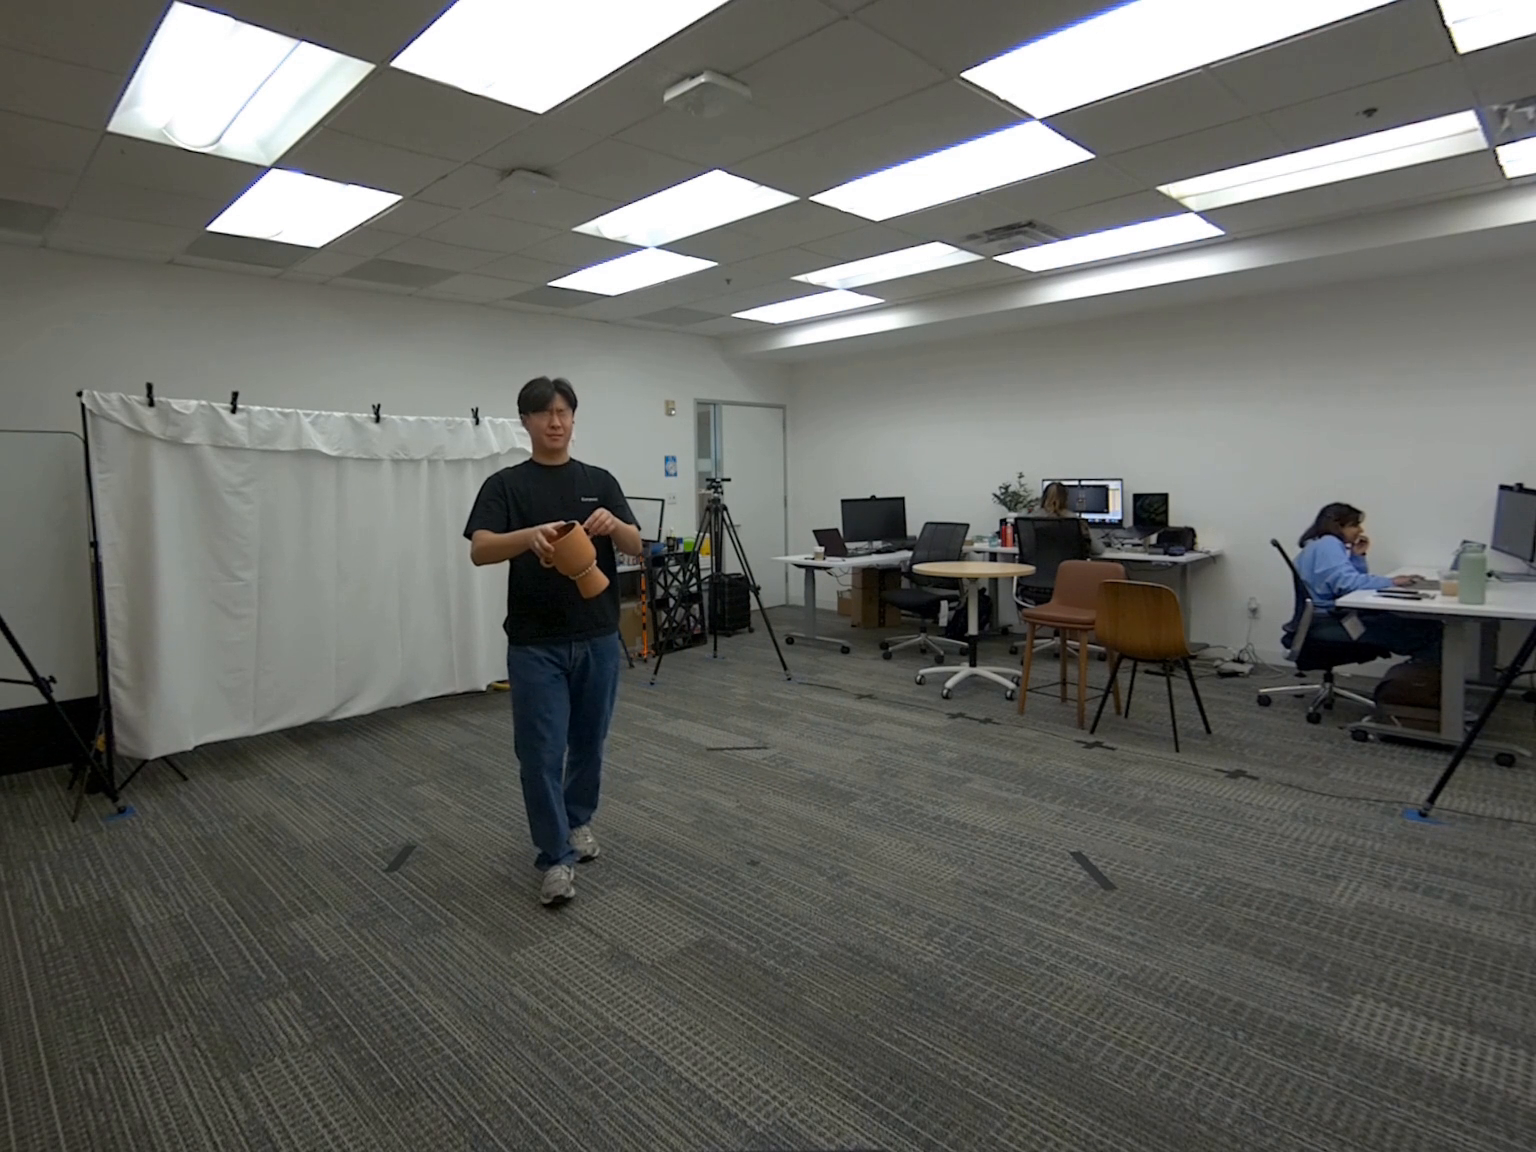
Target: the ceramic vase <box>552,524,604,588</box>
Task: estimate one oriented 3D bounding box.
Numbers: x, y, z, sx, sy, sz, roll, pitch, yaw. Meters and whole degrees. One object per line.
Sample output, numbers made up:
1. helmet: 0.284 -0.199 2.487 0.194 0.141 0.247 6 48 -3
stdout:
1. ceramic vase: -0.599 -0.047 2.675 0.160 0.214 0.137 -26 22 11
